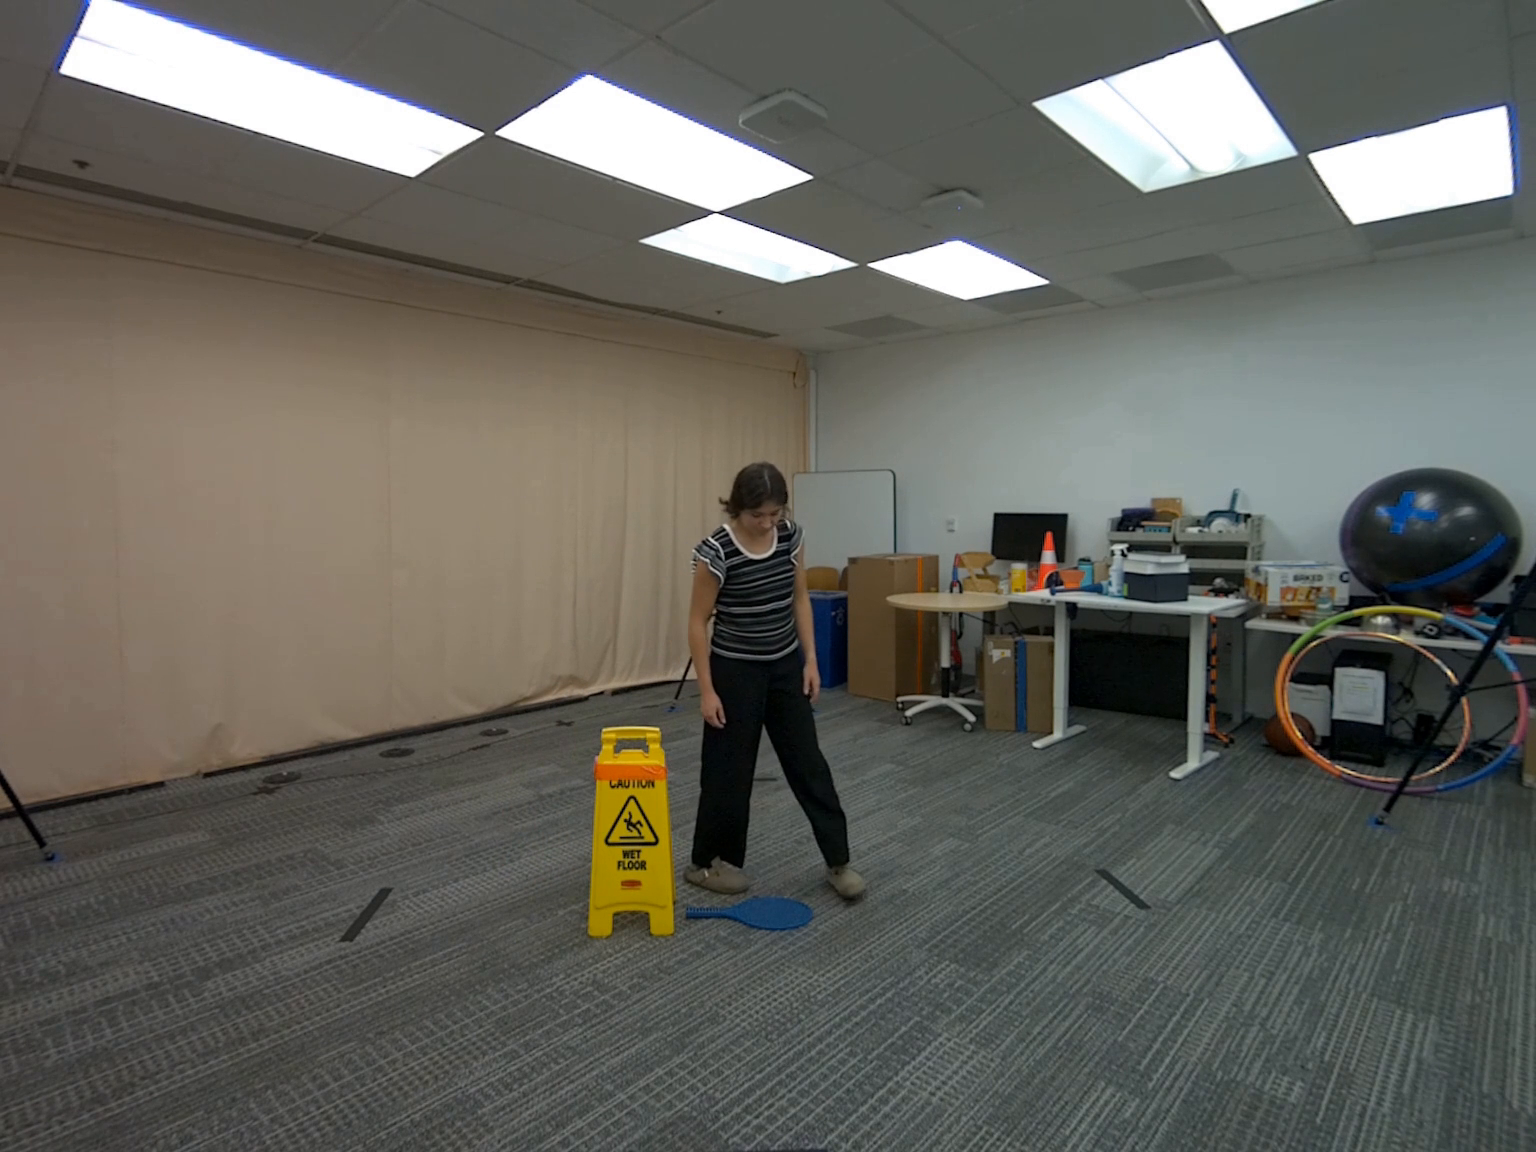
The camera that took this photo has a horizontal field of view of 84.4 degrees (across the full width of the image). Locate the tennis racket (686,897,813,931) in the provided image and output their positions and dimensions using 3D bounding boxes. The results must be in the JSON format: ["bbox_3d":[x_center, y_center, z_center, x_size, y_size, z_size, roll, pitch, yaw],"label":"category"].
[{"bbox_3d":[-0.060,1.136,2.864,0.433,0.032,0.214,2,5,-1],"label":"tennis racket"}]
